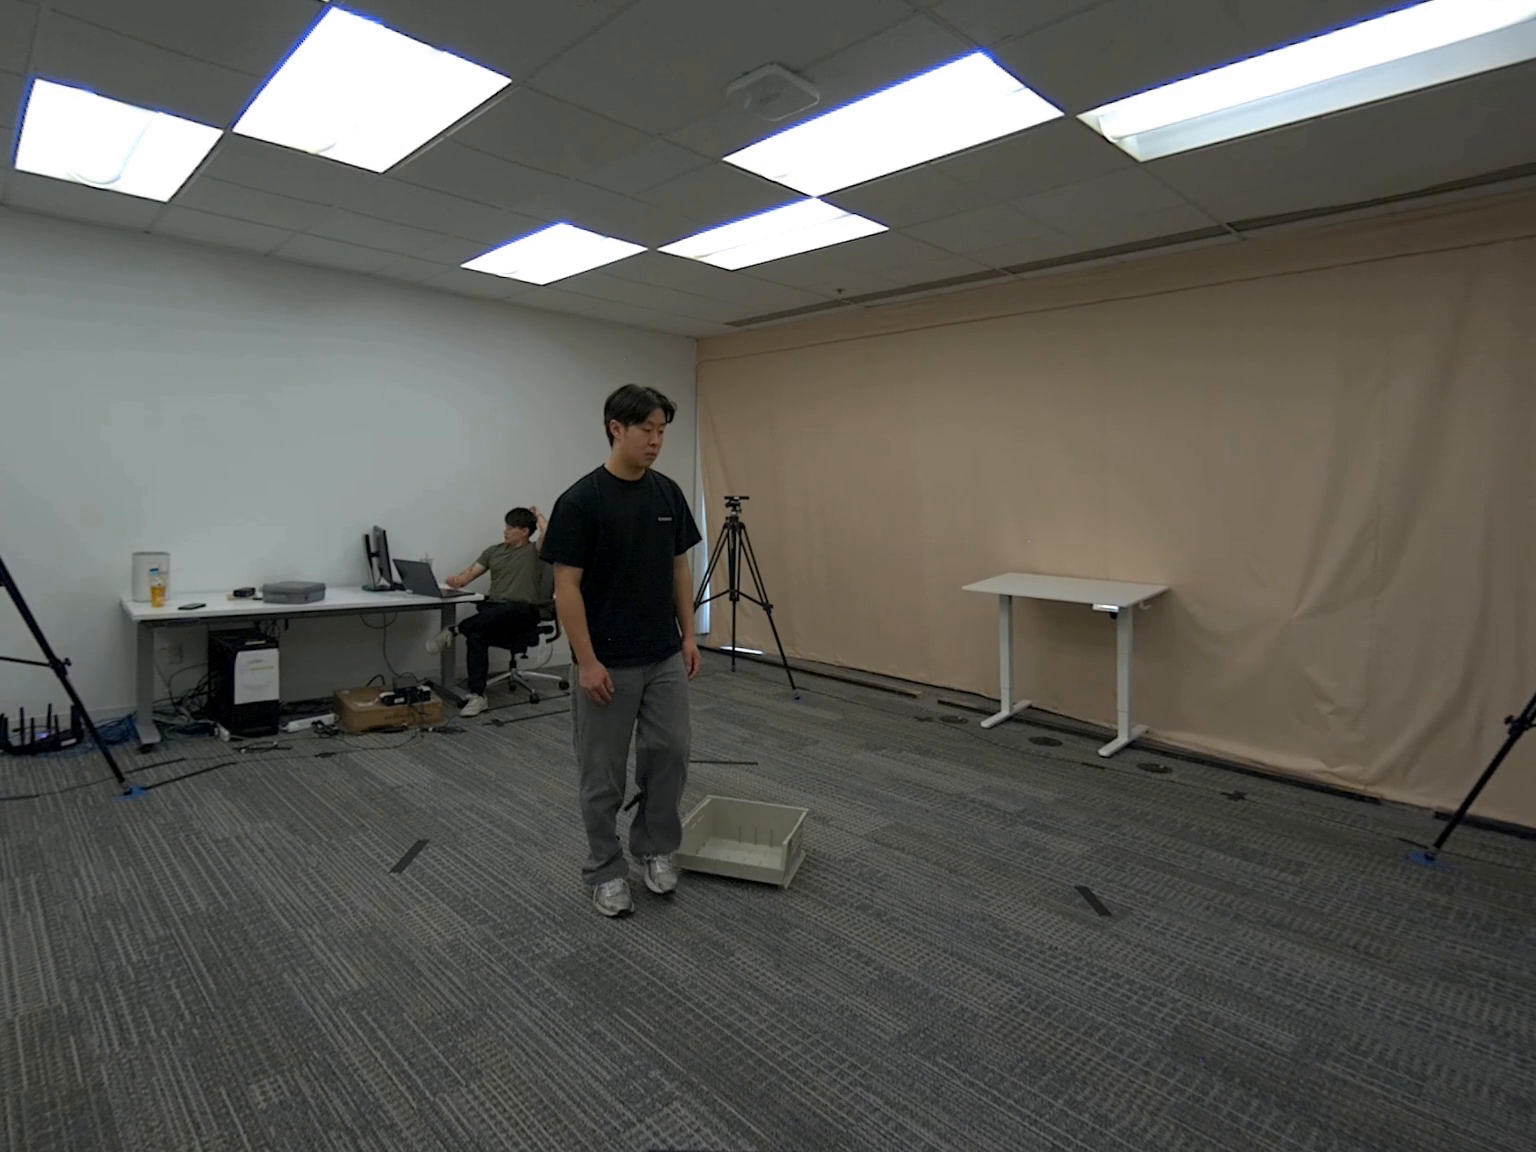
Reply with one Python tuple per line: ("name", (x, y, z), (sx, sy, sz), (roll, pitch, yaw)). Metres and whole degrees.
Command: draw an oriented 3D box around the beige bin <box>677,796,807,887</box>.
("beige bin", (-0.098, 1.010, 3.189), (0.428, 0.188, 0.373), (2, 4, 16))
